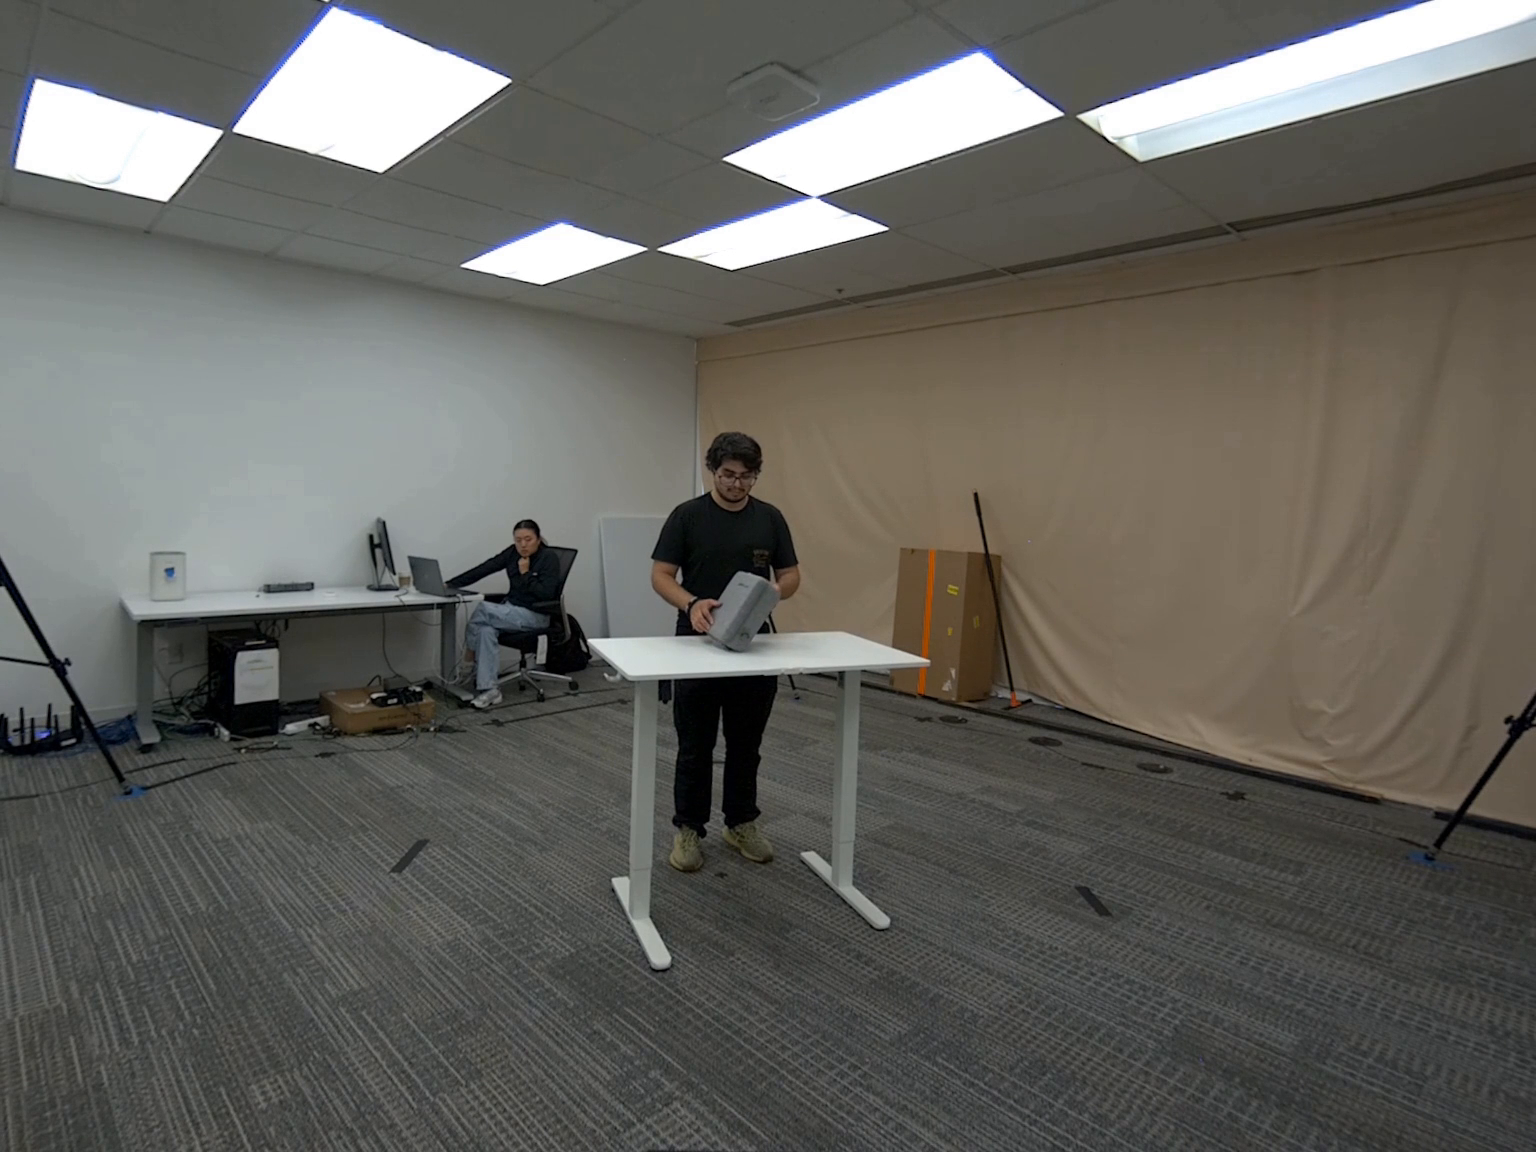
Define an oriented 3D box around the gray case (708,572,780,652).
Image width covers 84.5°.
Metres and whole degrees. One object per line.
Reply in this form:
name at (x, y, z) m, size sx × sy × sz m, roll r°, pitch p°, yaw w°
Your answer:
gray case at (-0.106, 0.115, 2.861) m, size 0.102 × 0.261 × 0.261 m, roll 29°, pitch -4°, yaw -18°
